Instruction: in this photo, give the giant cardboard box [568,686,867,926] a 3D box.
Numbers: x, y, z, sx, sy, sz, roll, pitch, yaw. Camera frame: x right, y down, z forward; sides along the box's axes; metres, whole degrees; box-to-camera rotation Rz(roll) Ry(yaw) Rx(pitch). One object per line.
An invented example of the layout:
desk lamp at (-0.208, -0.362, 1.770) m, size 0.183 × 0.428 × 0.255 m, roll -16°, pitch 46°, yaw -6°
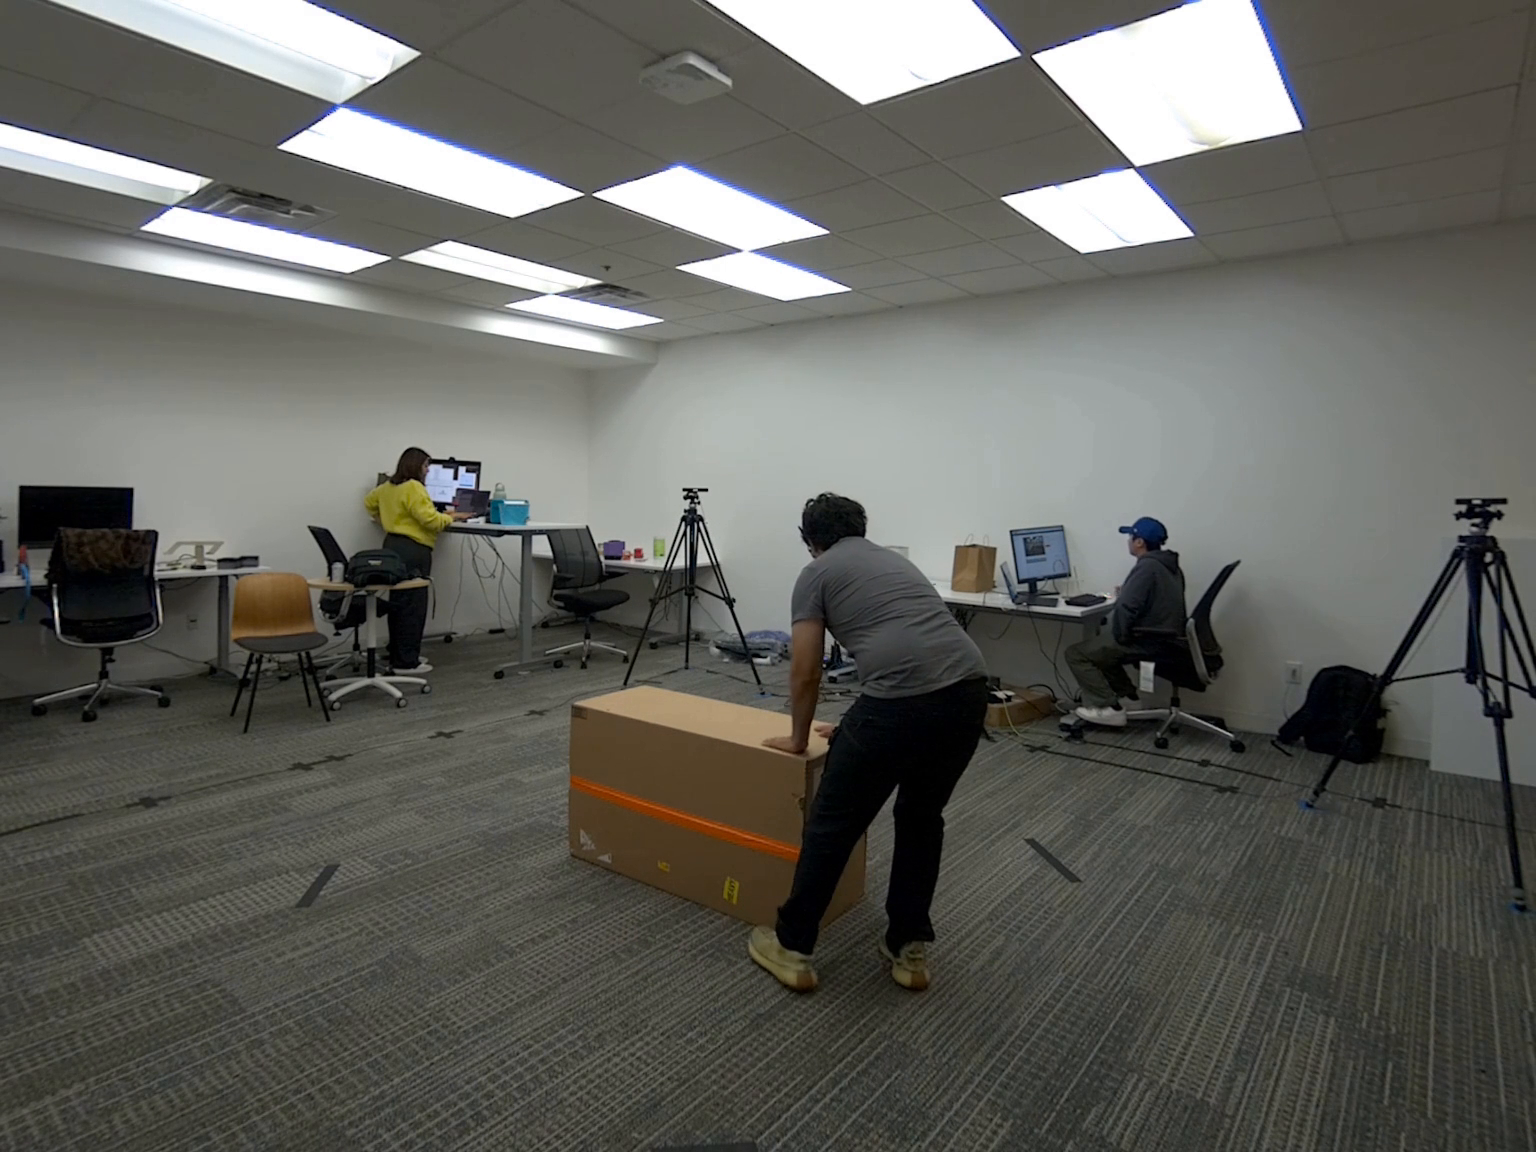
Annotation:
giant cardboard box at (-0.217, 0.784, 3.055) m, size 1.059 × 0.575 × 0.414 m, roll 5°, pitch 6°, yaw 35°
